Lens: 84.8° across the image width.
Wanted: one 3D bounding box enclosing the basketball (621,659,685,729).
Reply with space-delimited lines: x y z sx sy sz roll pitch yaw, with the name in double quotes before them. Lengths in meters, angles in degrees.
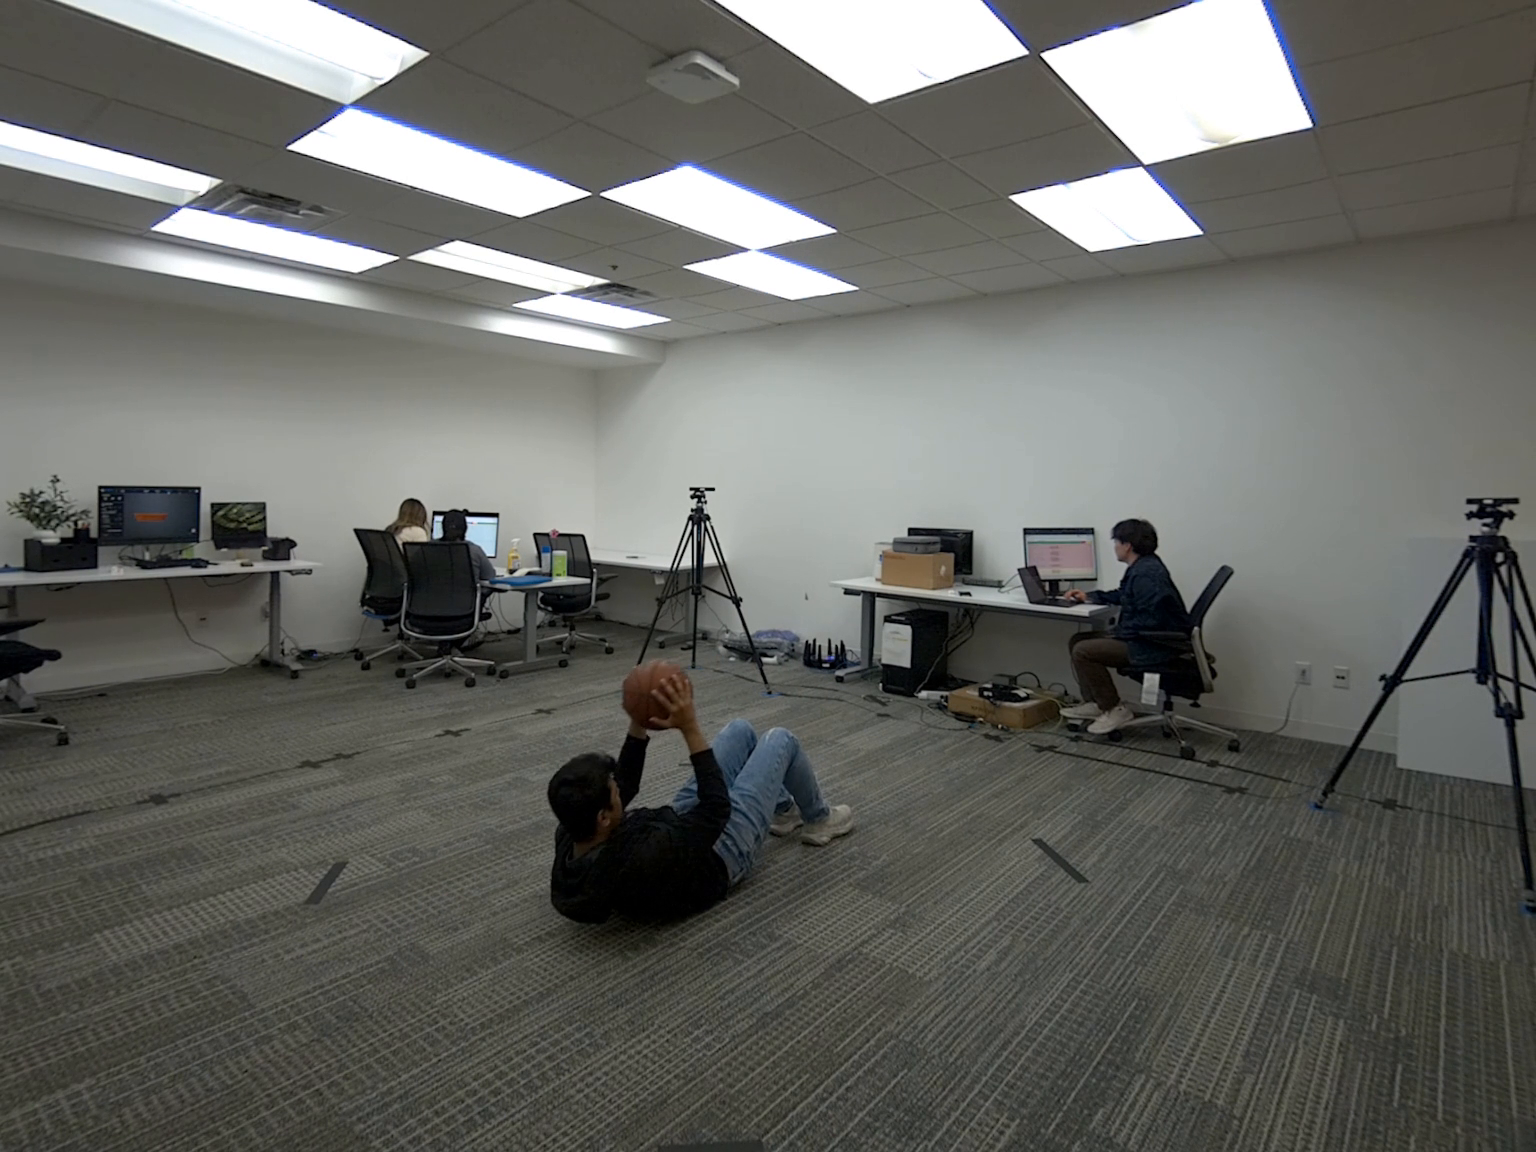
"basketball" -0.386 0.414 2.850 0.235 0.235 0.237 1 4 -2
